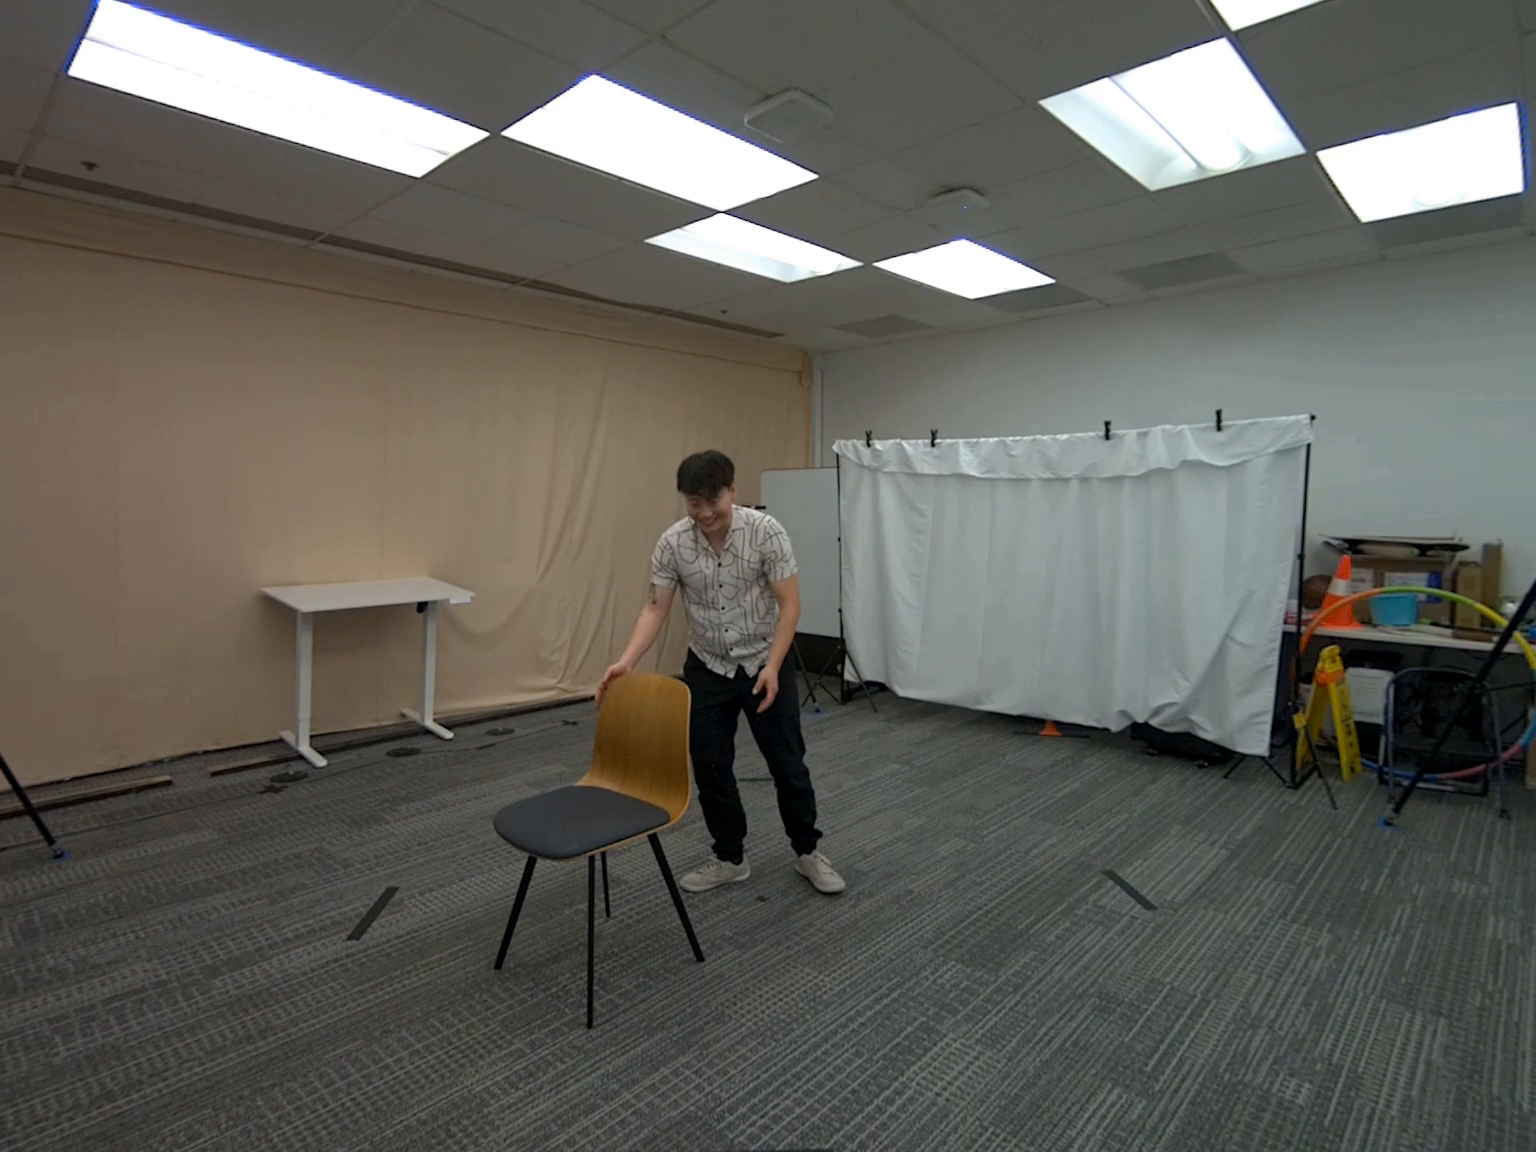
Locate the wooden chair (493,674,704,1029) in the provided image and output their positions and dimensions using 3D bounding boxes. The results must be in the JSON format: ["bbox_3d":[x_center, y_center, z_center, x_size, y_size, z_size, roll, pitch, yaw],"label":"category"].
[{"bbox_3d":[-0.511,0.757,2.524,0.494,0.877,0.506,3,0,40],"label":"wooden chair"}]
